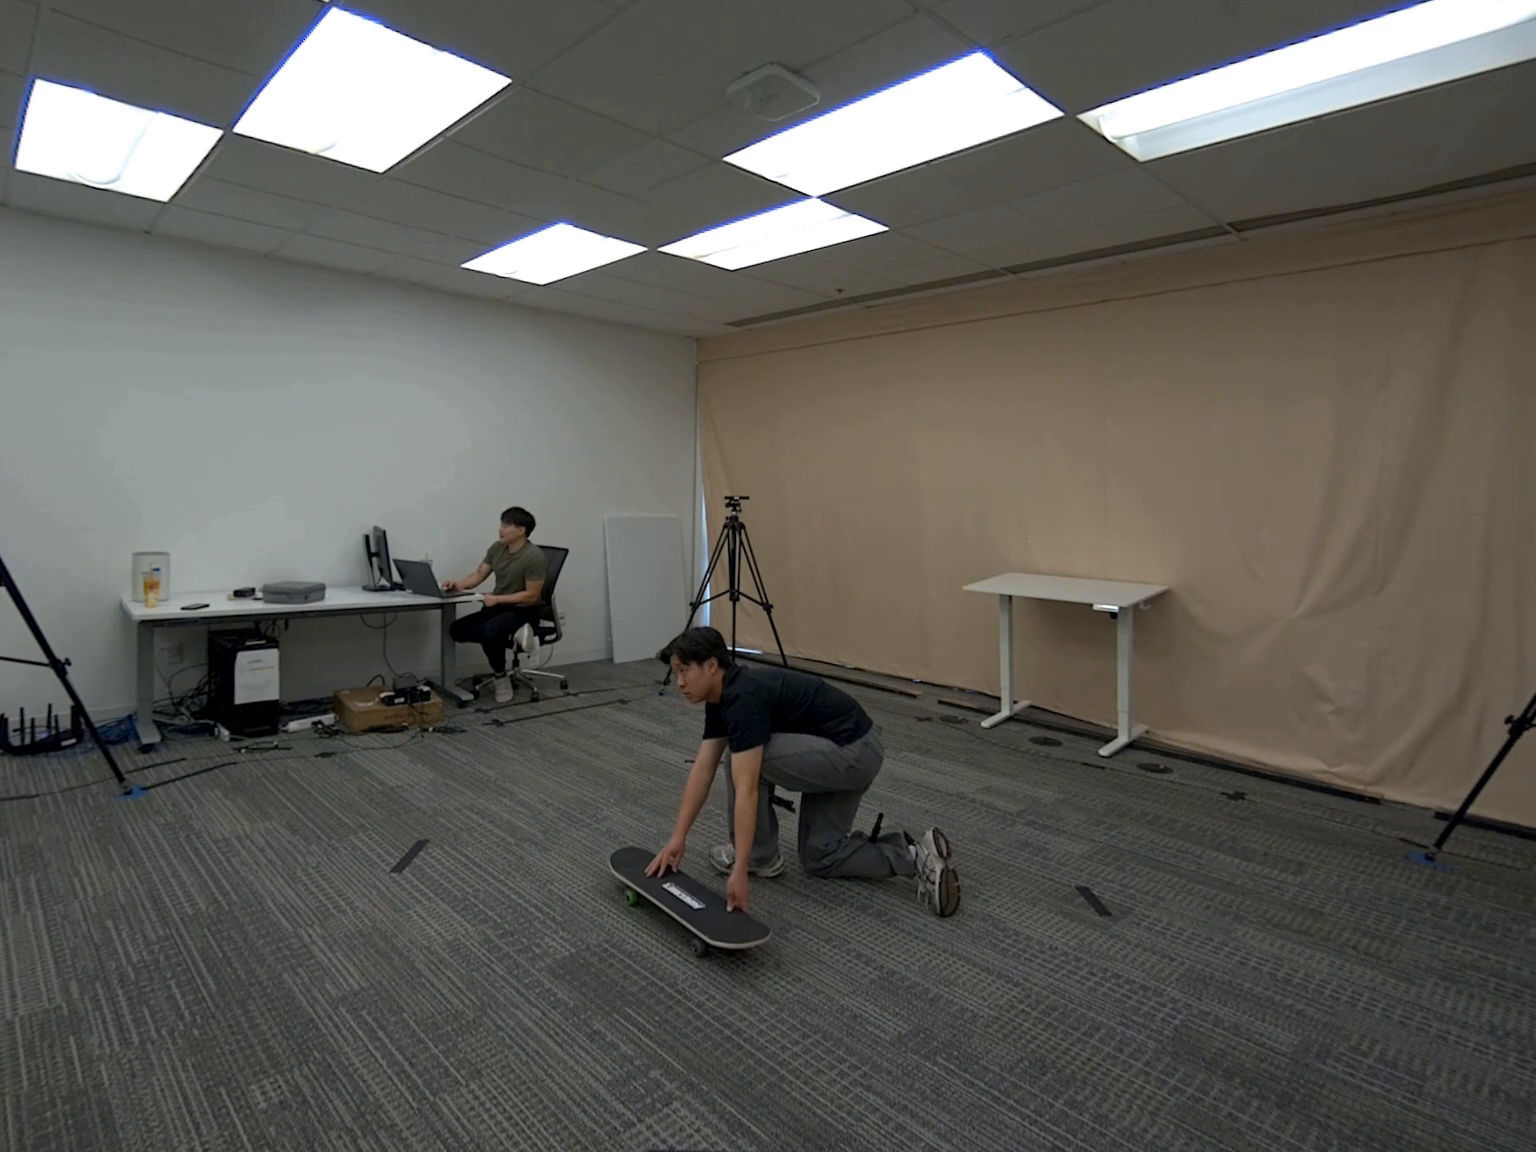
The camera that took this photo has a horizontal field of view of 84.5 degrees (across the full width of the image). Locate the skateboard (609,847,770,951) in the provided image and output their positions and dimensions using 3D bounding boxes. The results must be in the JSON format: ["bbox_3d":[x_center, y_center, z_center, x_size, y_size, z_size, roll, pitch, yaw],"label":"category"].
[{"bbox_3d":[-0.284,1.071,2.761,0.189,0.110,0.805,-3,7,-38],"label":"skateboard"}]
